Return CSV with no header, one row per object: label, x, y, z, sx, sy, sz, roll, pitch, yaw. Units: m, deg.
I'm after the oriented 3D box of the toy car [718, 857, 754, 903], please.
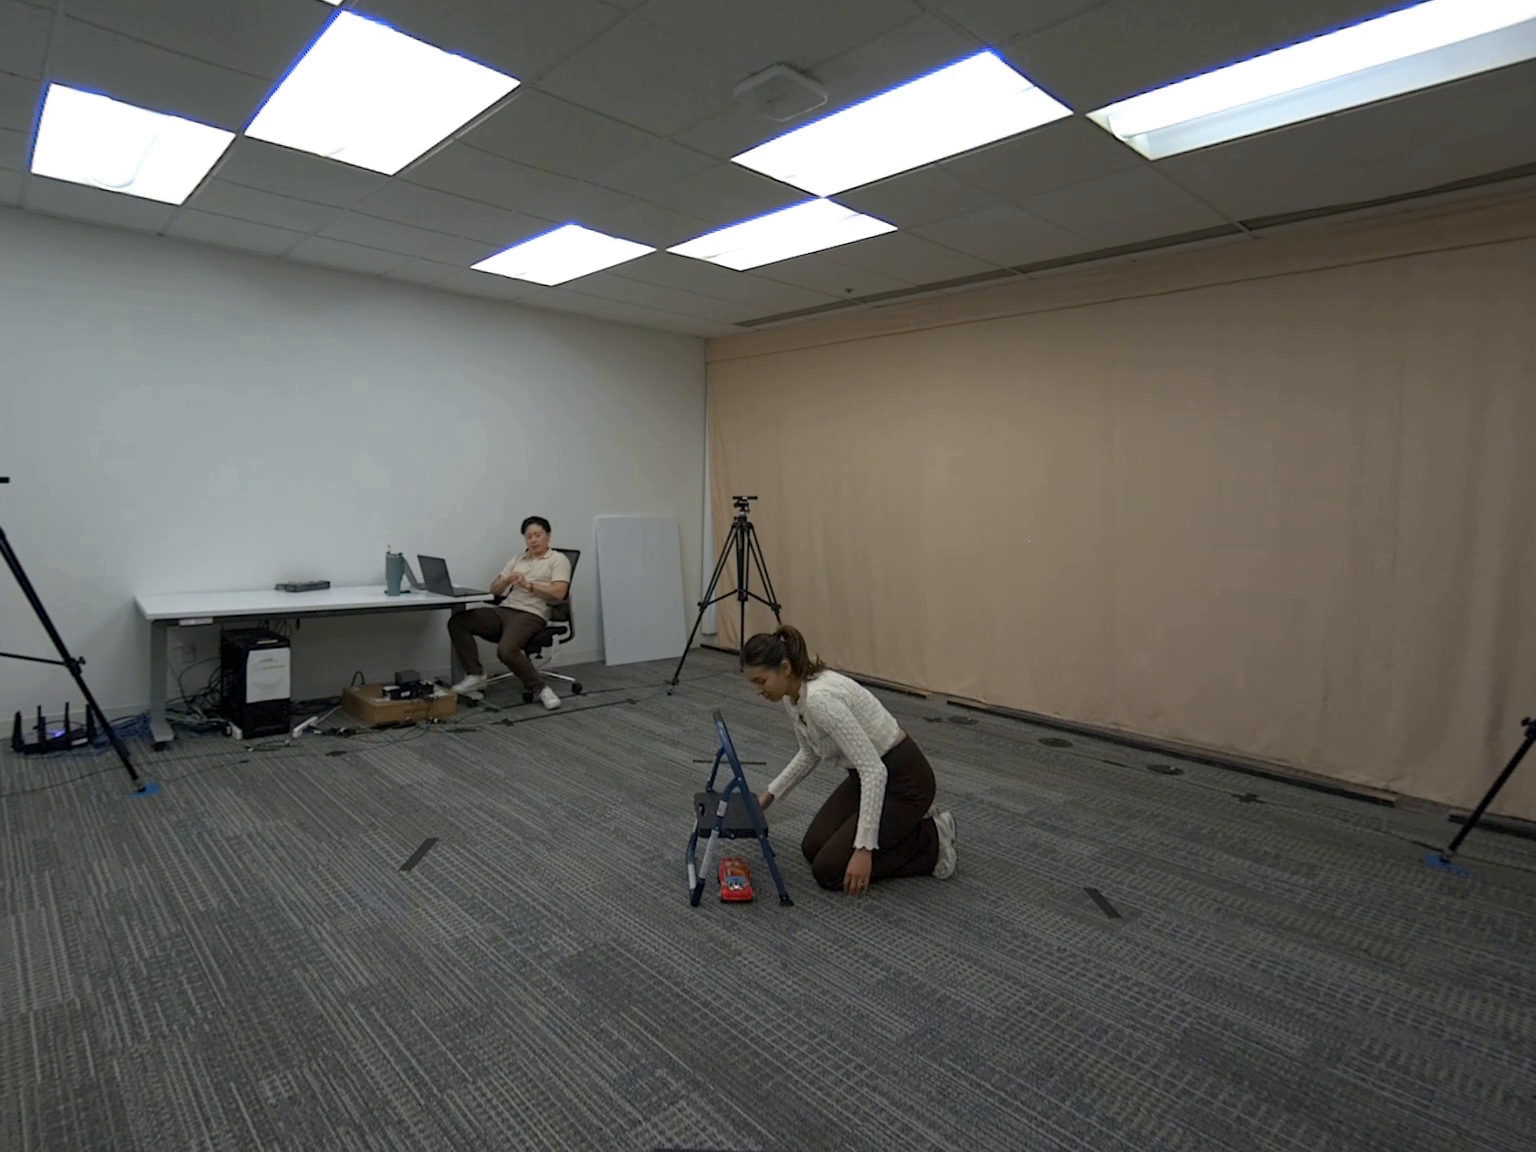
toy car,-0.128,1.085,3.001,0.130,0.082,0.258,1,15,-5
